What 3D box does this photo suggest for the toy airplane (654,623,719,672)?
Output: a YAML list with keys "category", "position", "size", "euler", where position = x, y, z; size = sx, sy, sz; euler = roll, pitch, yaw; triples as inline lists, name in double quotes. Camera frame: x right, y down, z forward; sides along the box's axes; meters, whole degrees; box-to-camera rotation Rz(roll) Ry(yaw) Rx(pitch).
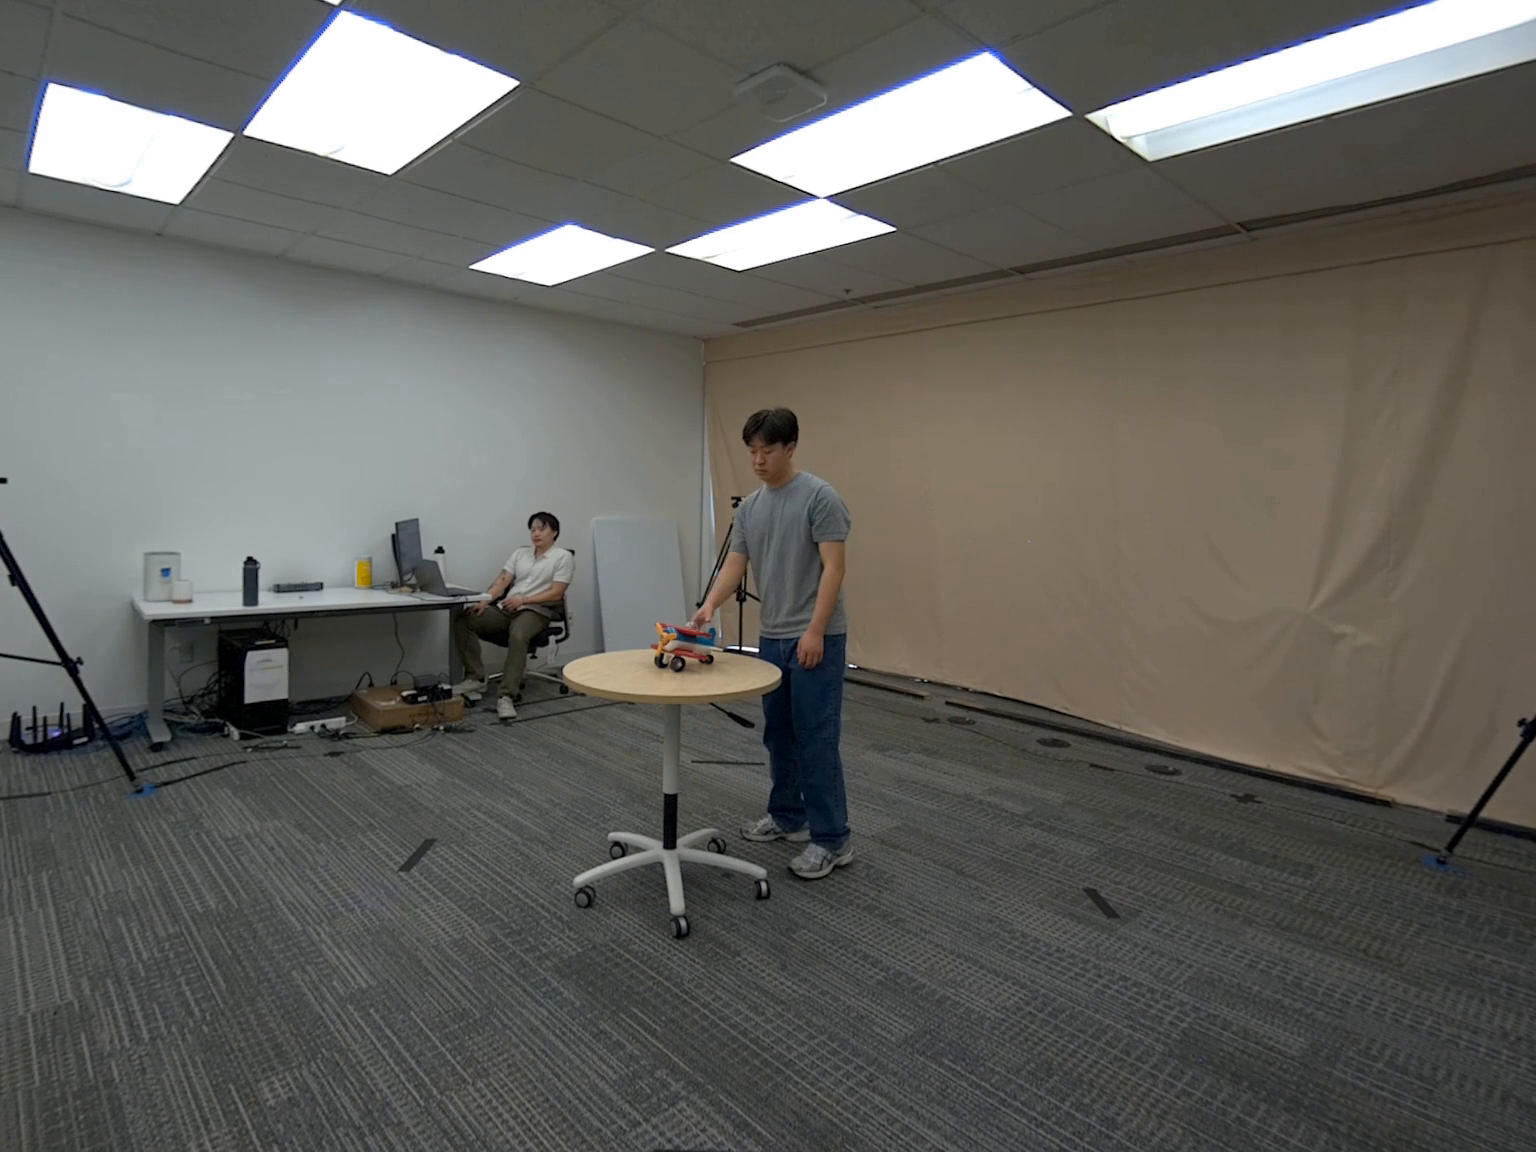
- category: "toy airplane"
  position: [-0.309, 0.249, 3.022]
  size: [0.254, 0.156, 0.257]
  euler: [3, 7, 15]
